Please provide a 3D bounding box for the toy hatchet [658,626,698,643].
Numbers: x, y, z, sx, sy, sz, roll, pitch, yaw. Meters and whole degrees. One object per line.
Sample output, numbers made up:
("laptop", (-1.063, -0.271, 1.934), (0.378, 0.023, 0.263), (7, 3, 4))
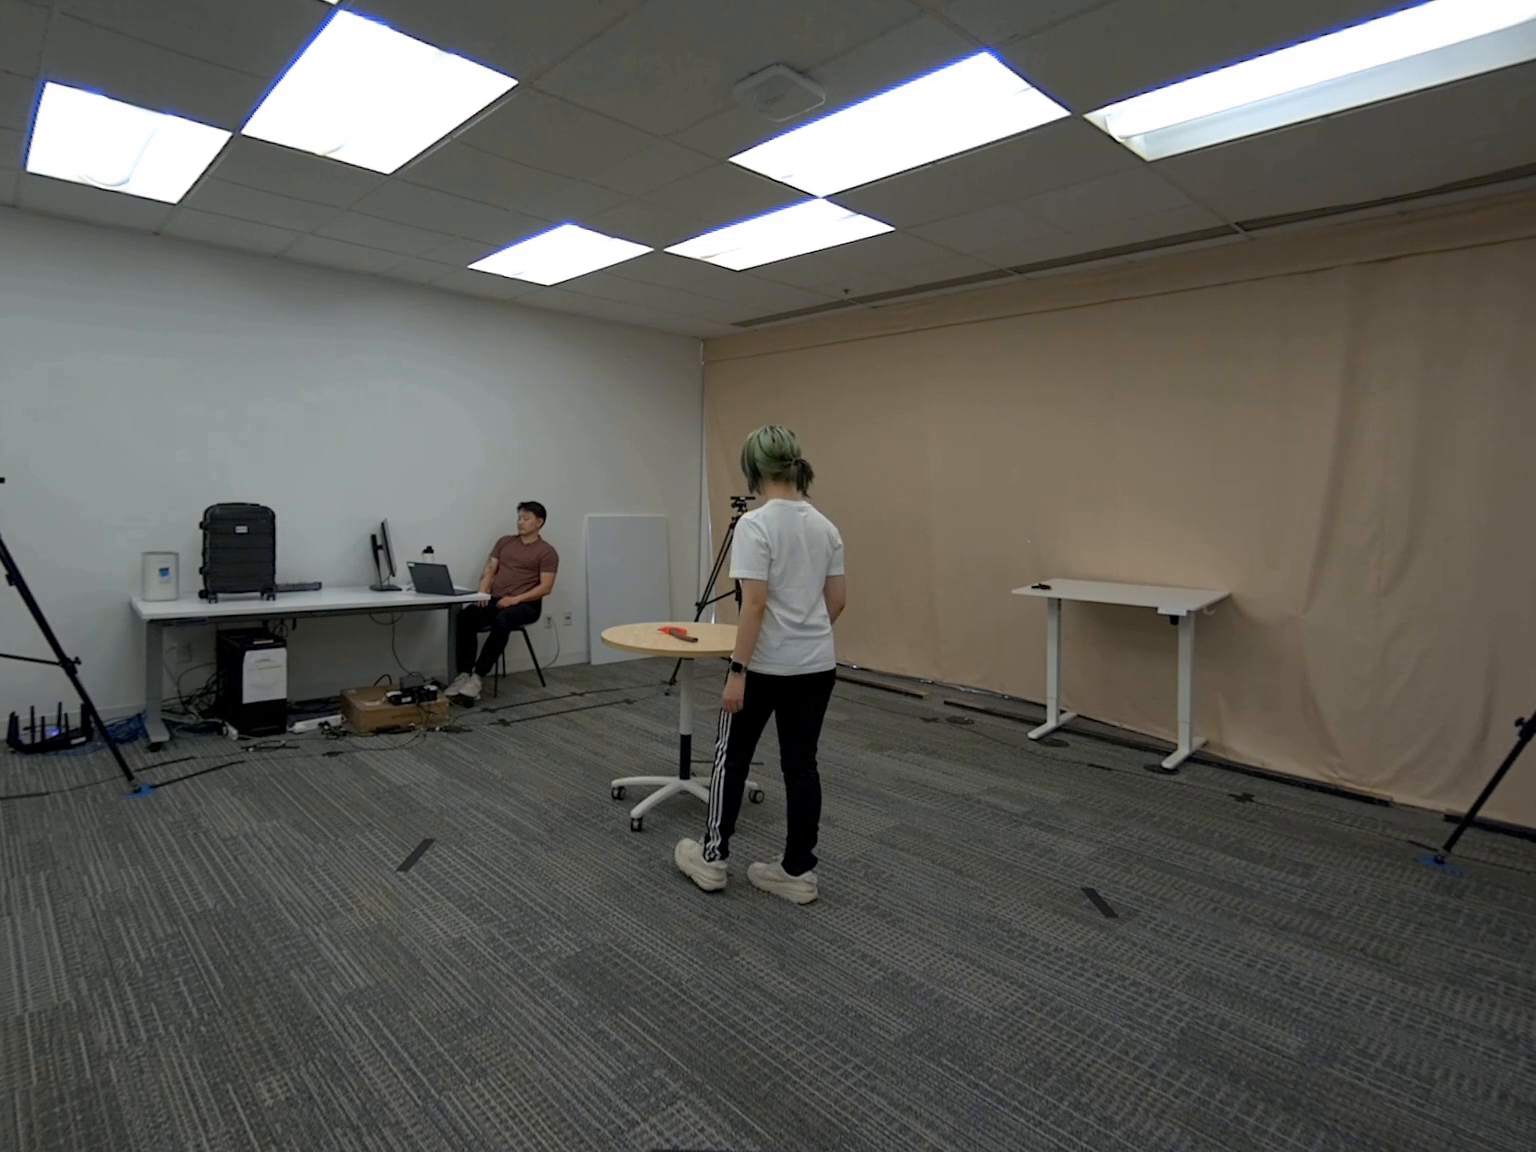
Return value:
("toy hatchet", (-0.364, 0.253, 3.644), (0.128, 0.029, 0.277), (4, 4, -39))
